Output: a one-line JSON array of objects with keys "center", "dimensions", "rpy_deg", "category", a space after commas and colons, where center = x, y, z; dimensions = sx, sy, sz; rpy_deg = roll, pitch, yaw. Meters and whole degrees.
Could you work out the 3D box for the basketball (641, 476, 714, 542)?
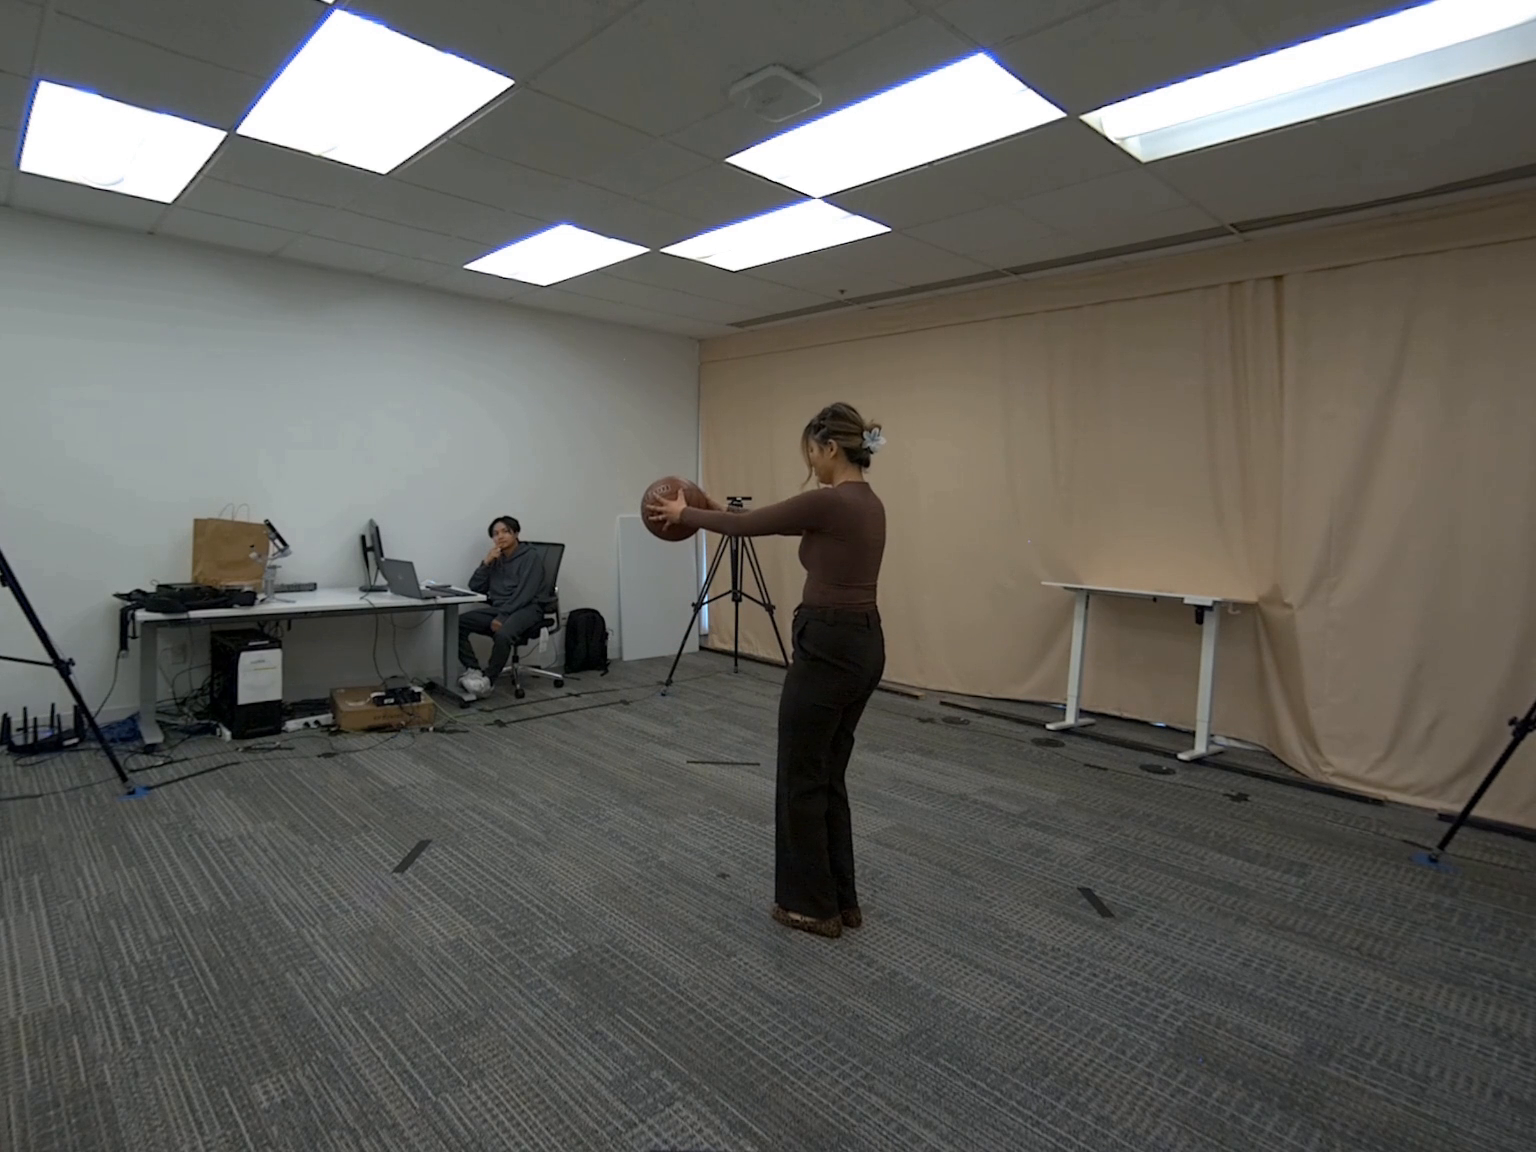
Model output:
[{"center": [-0.346, -0.238, 3.052], "dimensions": [0.236, 0.235, 0.237], "rpy_deg": [1, 4, -1], "category": "basketball"}]
